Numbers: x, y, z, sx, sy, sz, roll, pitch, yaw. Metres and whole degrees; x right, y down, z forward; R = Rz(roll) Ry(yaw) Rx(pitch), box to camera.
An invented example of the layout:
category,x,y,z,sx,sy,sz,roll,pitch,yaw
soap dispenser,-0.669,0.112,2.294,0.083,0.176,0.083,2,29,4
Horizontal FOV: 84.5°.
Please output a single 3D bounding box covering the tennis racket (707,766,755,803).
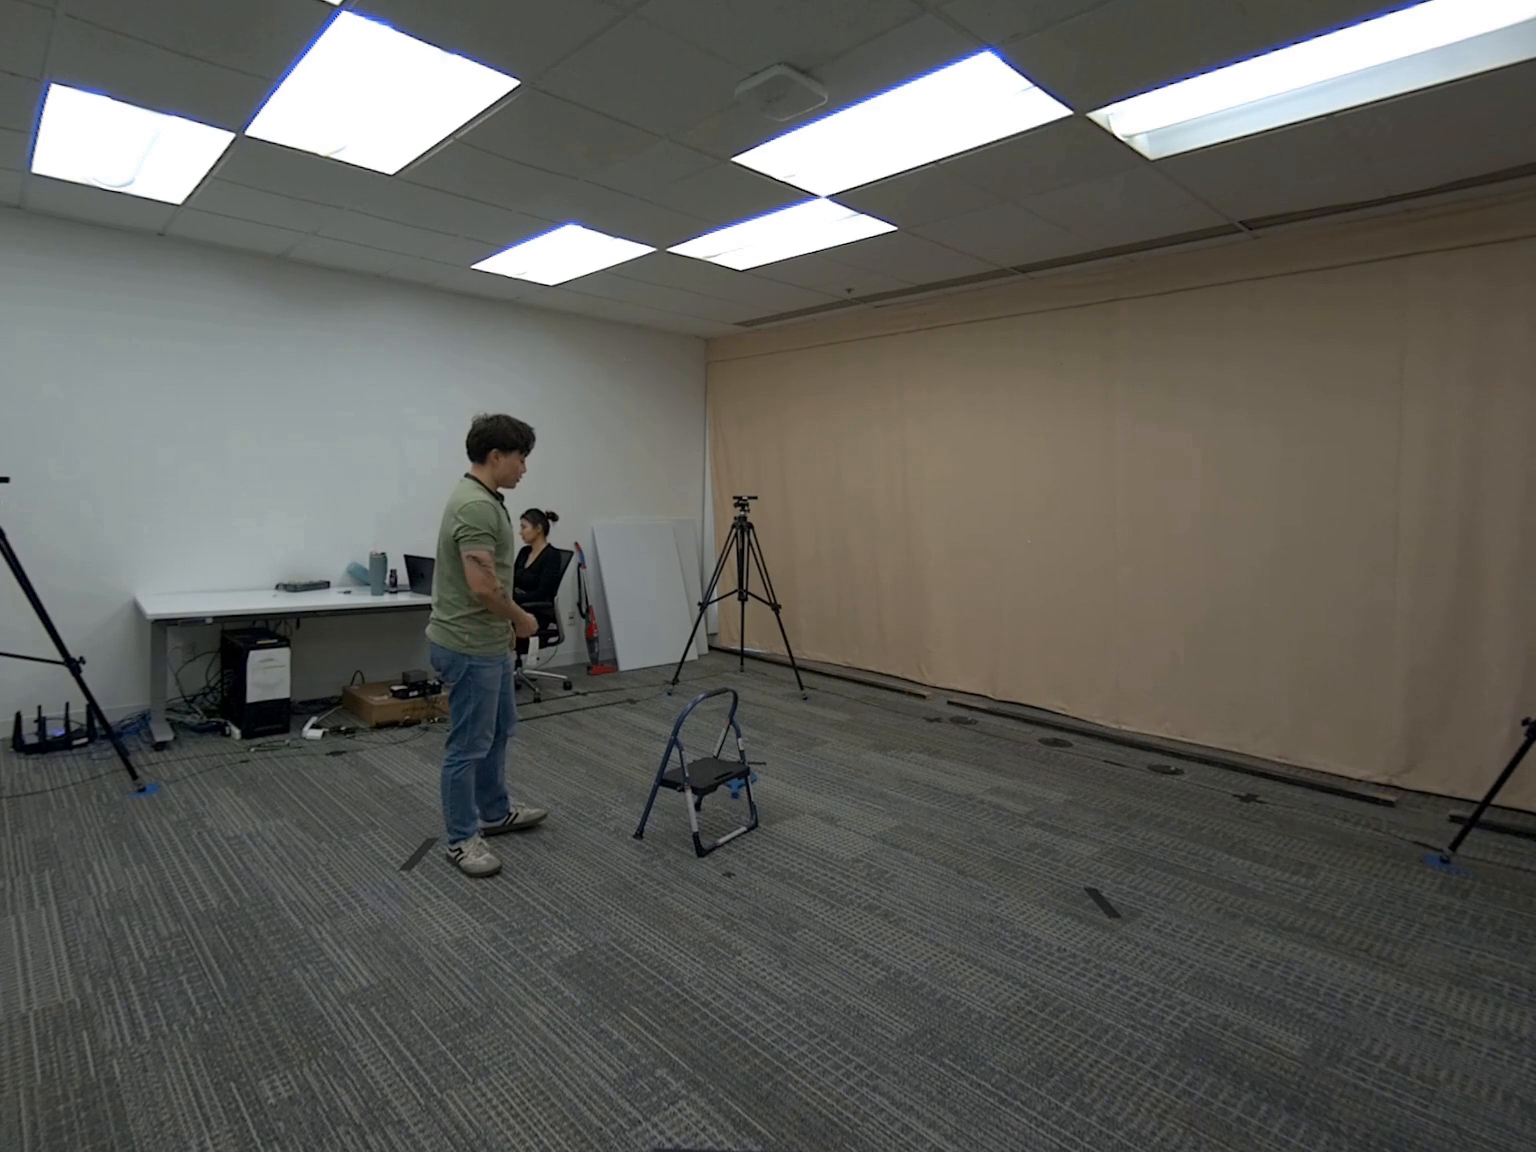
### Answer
category,x,y,z,sx,sy,sz,roll,pitch,yaw
tennis racket,-0.175,1.008,4.122,0.214,0.032,0.433,1,4,0
